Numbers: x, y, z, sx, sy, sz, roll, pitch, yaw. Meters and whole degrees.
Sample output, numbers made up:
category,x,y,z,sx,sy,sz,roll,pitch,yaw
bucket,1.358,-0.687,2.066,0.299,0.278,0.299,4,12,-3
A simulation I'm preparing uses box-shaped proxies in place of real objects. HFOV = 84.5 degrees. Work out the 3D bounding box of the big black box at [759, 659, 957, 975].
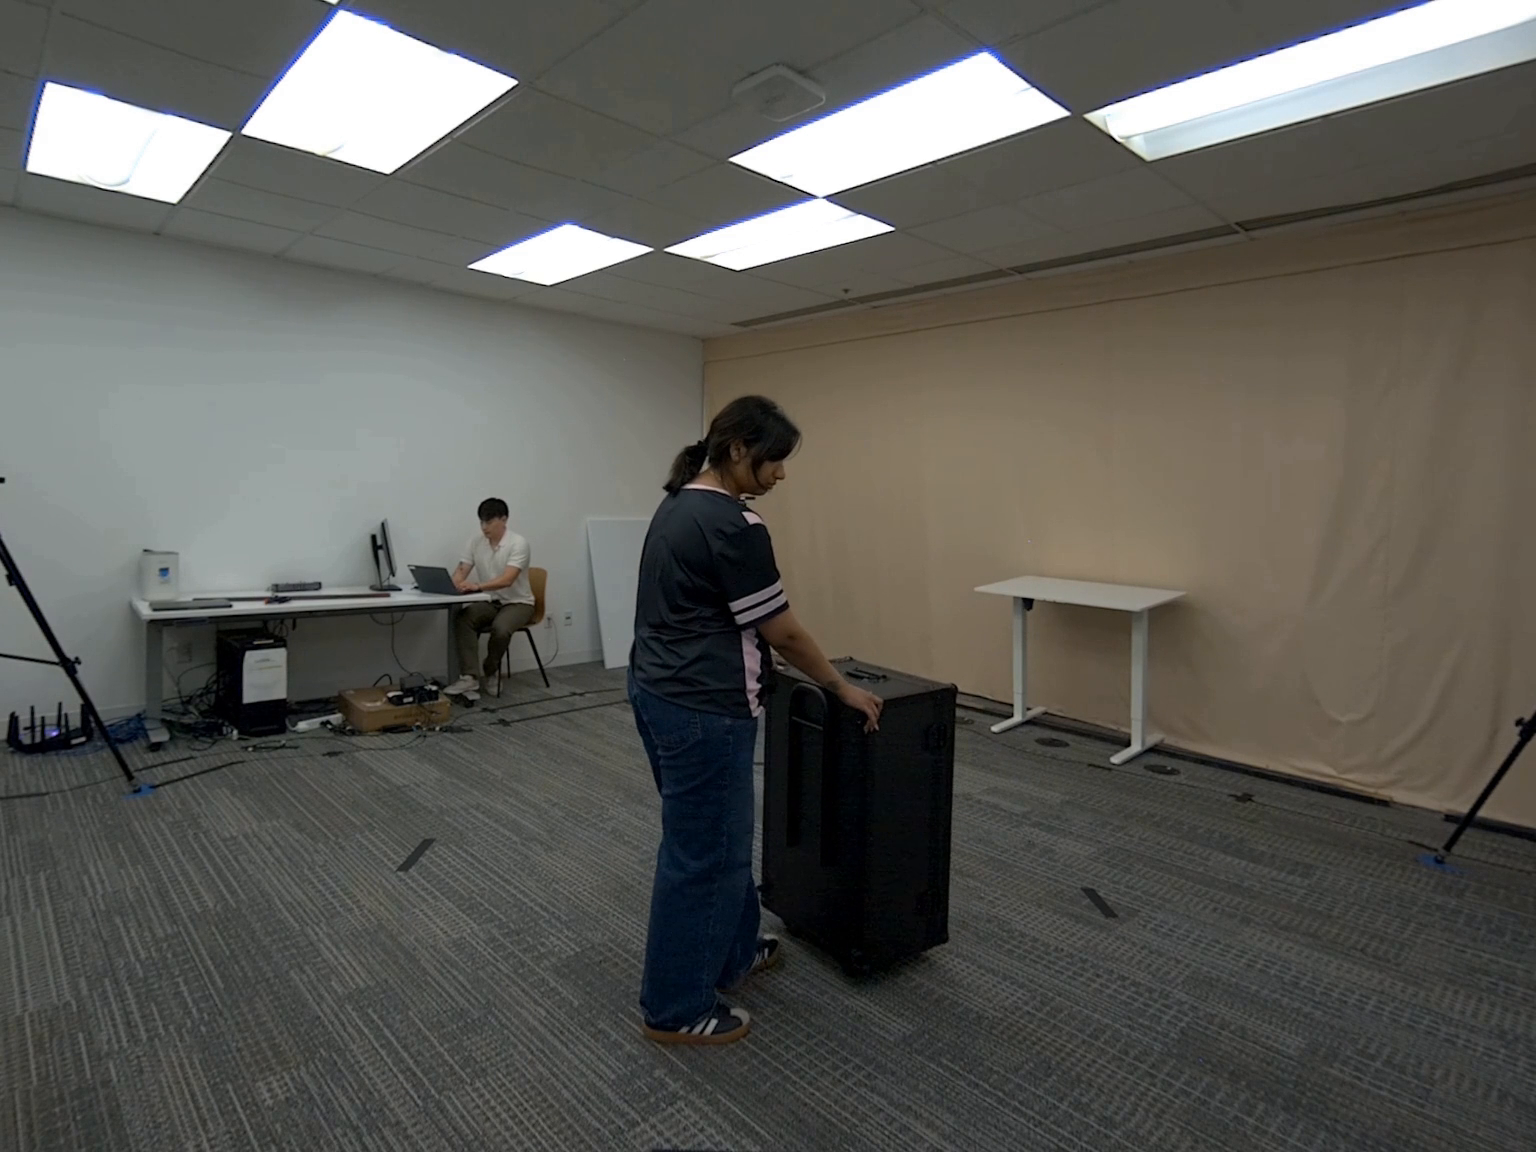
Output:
category,x,y,z,sx,sy,sz,roll,pitch,yaw
big black box,0.272,0.740,2.604,0.377,0.866,0.536,-2,5,-36
